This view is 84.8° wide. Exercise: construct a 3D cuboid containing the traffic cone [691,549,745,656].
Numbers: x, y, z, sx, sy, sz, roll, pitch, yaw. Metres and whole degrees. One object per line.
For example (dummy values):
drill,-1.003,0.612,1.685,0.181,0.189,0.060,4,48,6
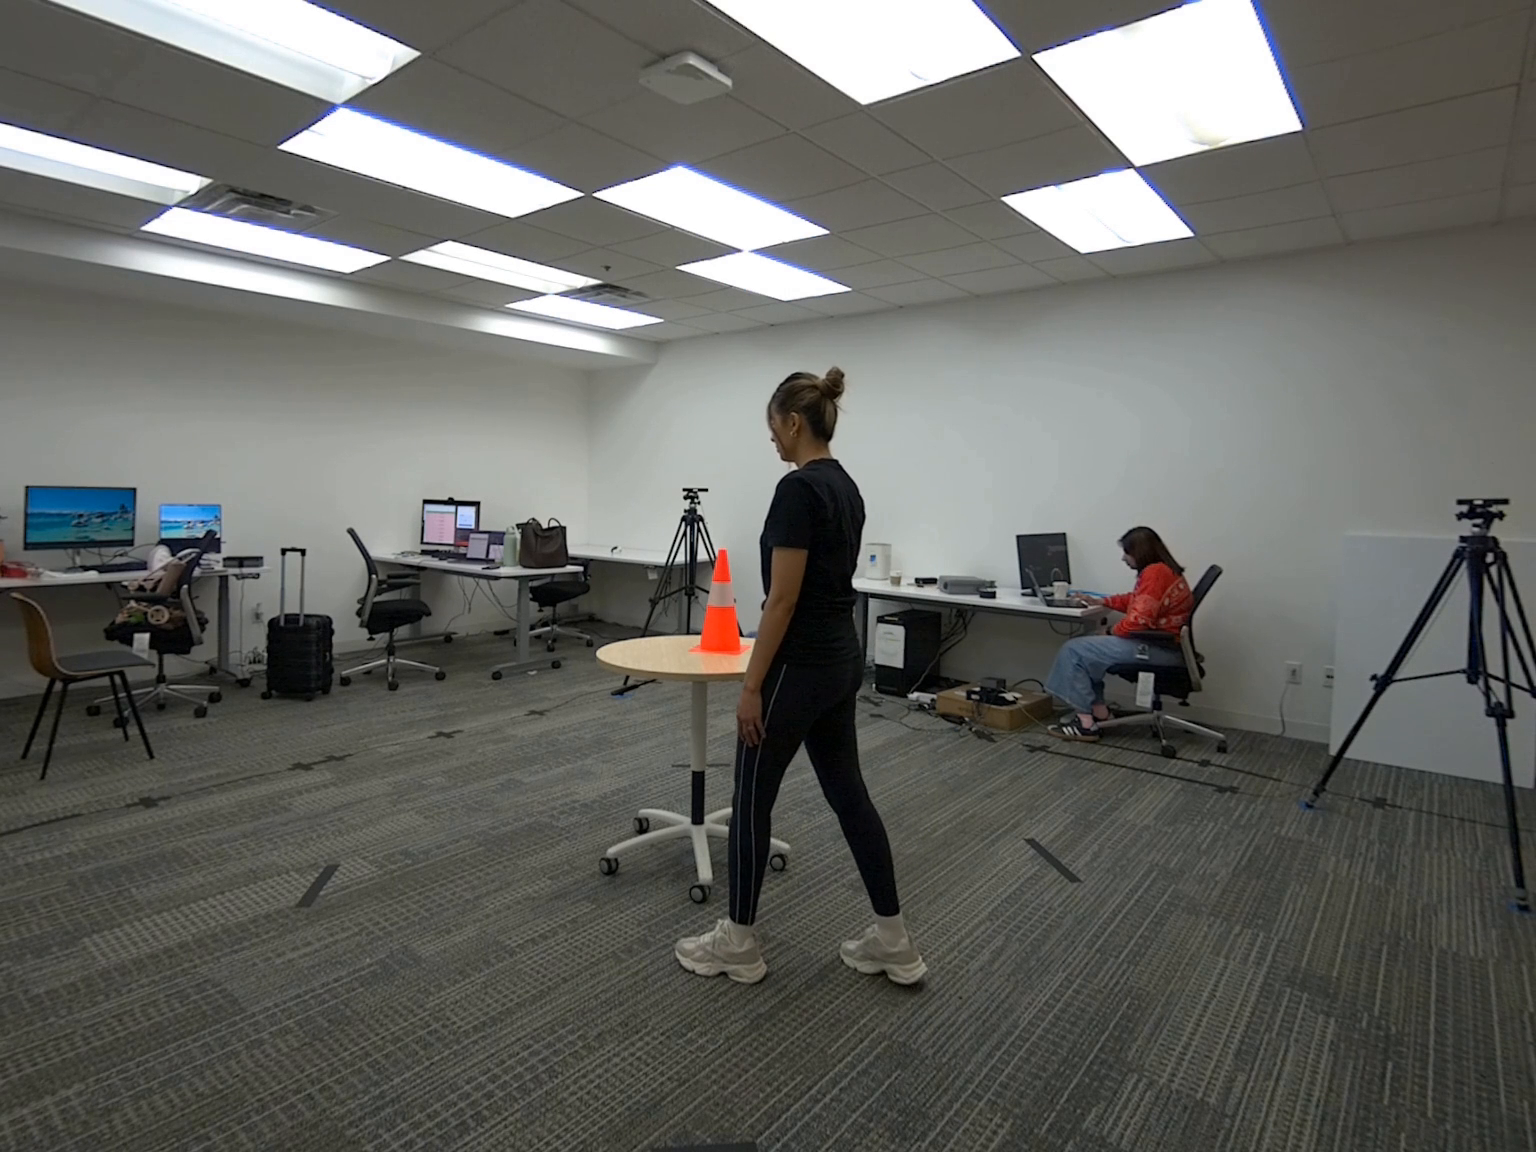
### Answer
traffic cone,-0.193,0.087,3.218,0.208,0.382,0.201,1,6,21
